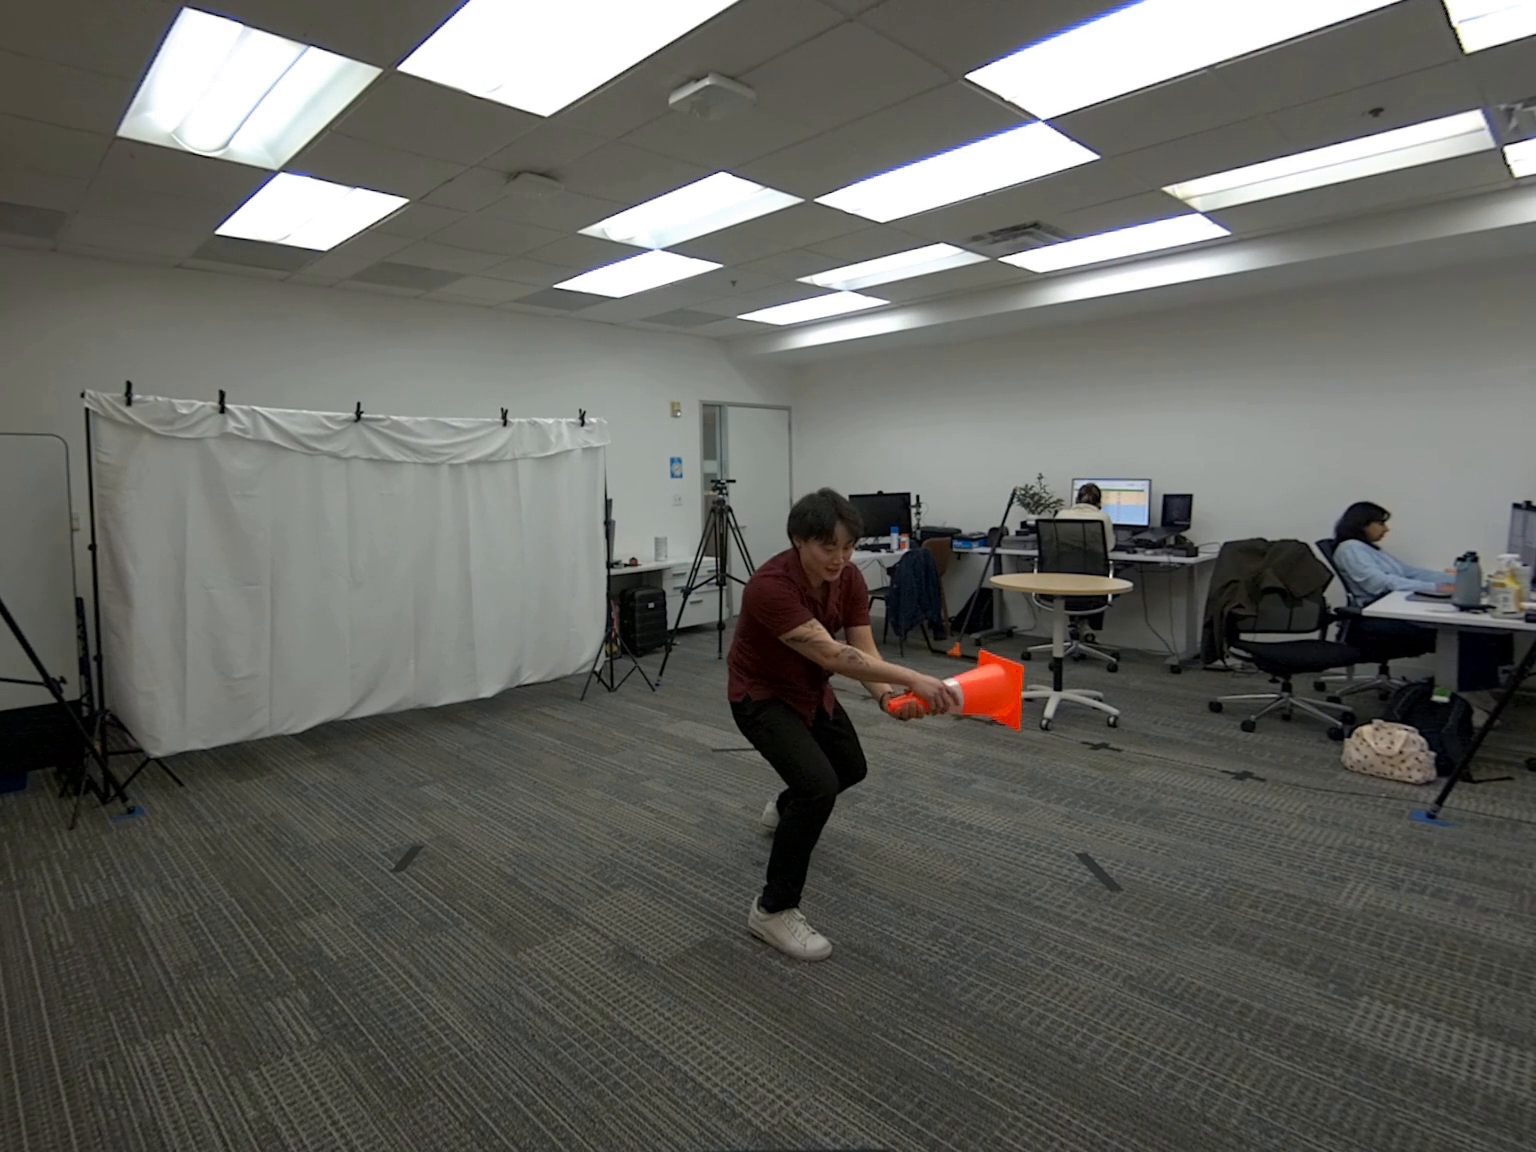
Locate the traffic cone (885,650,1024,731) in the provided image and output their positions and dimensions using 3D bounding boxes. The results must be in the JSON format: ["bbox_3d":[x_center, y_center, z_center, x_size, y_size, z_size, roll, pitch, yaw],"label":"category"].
[{"bbox_3d":[0.510,0.355,2.514,0.379,0.201,0.210,-5,12,-14],"label":"traffic cone"}]
